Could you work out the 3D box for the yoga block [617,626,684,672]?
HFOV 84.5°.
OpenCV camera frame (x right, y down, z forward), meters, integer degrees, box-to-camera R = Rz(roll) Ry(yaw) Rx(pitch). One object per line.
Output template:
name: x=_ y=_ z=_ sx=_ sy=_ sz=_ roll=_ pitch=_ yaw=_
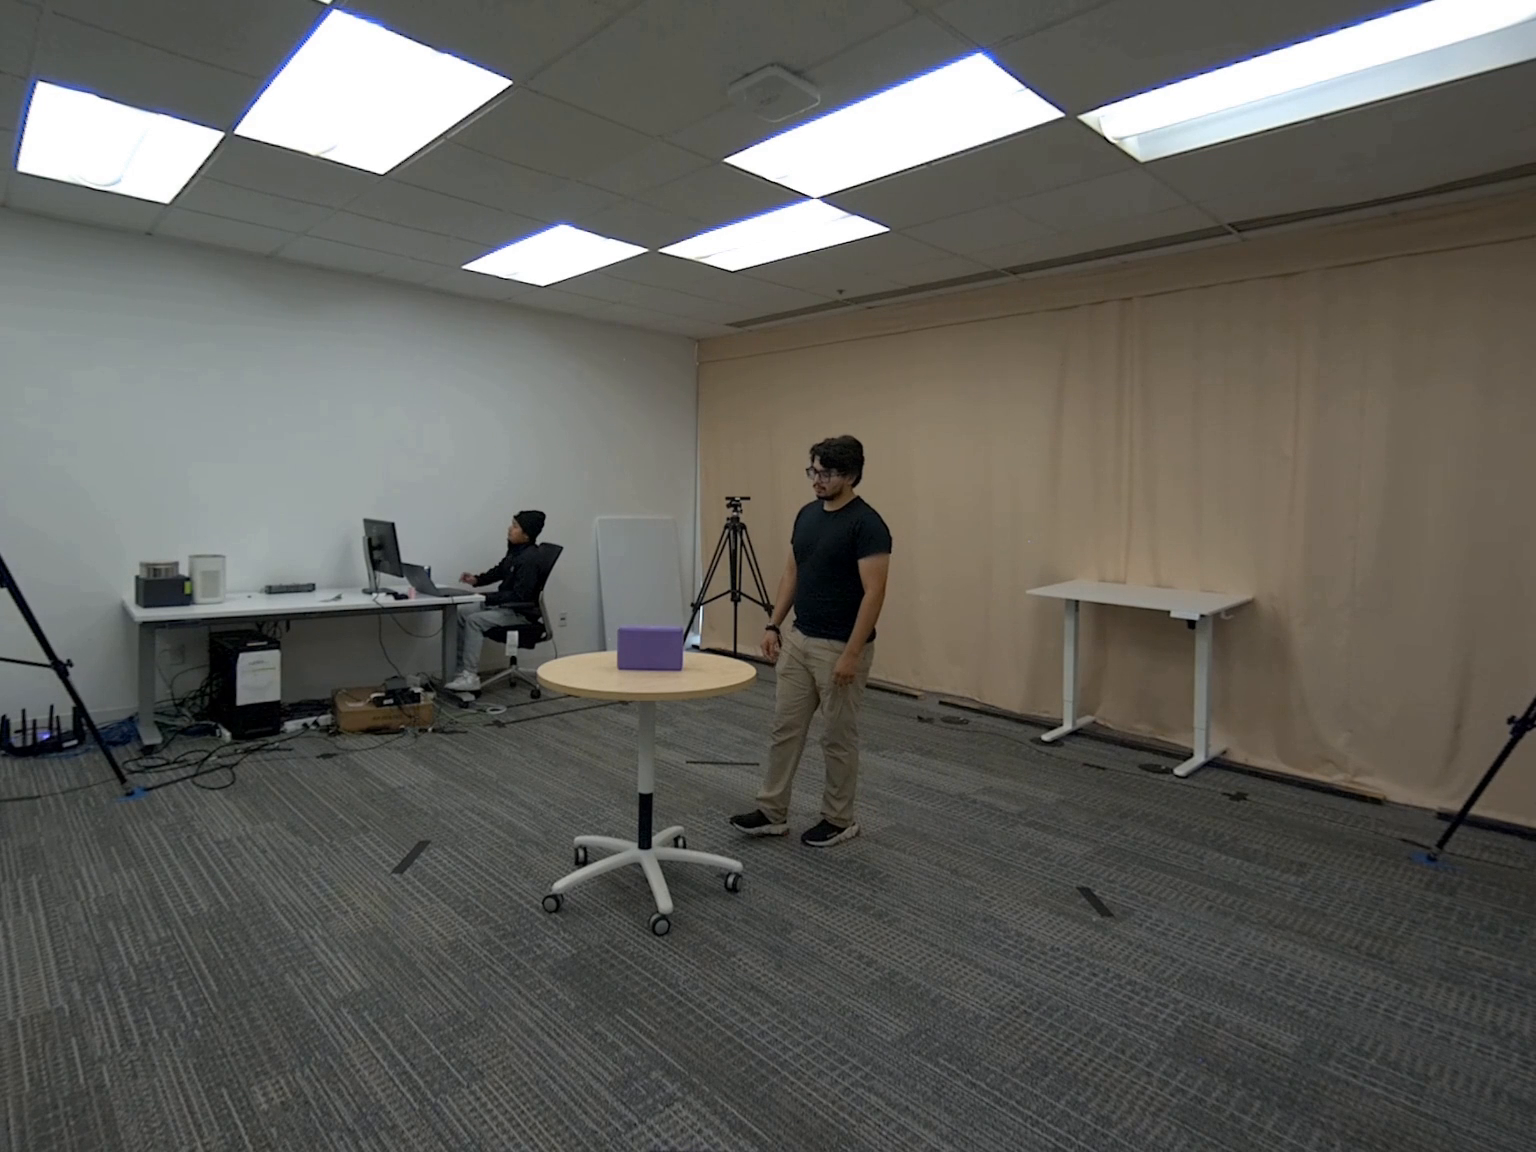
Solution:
yoga block: x=-0.427 y=0.254 z=2.972 sx=0.229 sy=0.148 sz=0.076 roll=2 pitch=4 yaw=0
